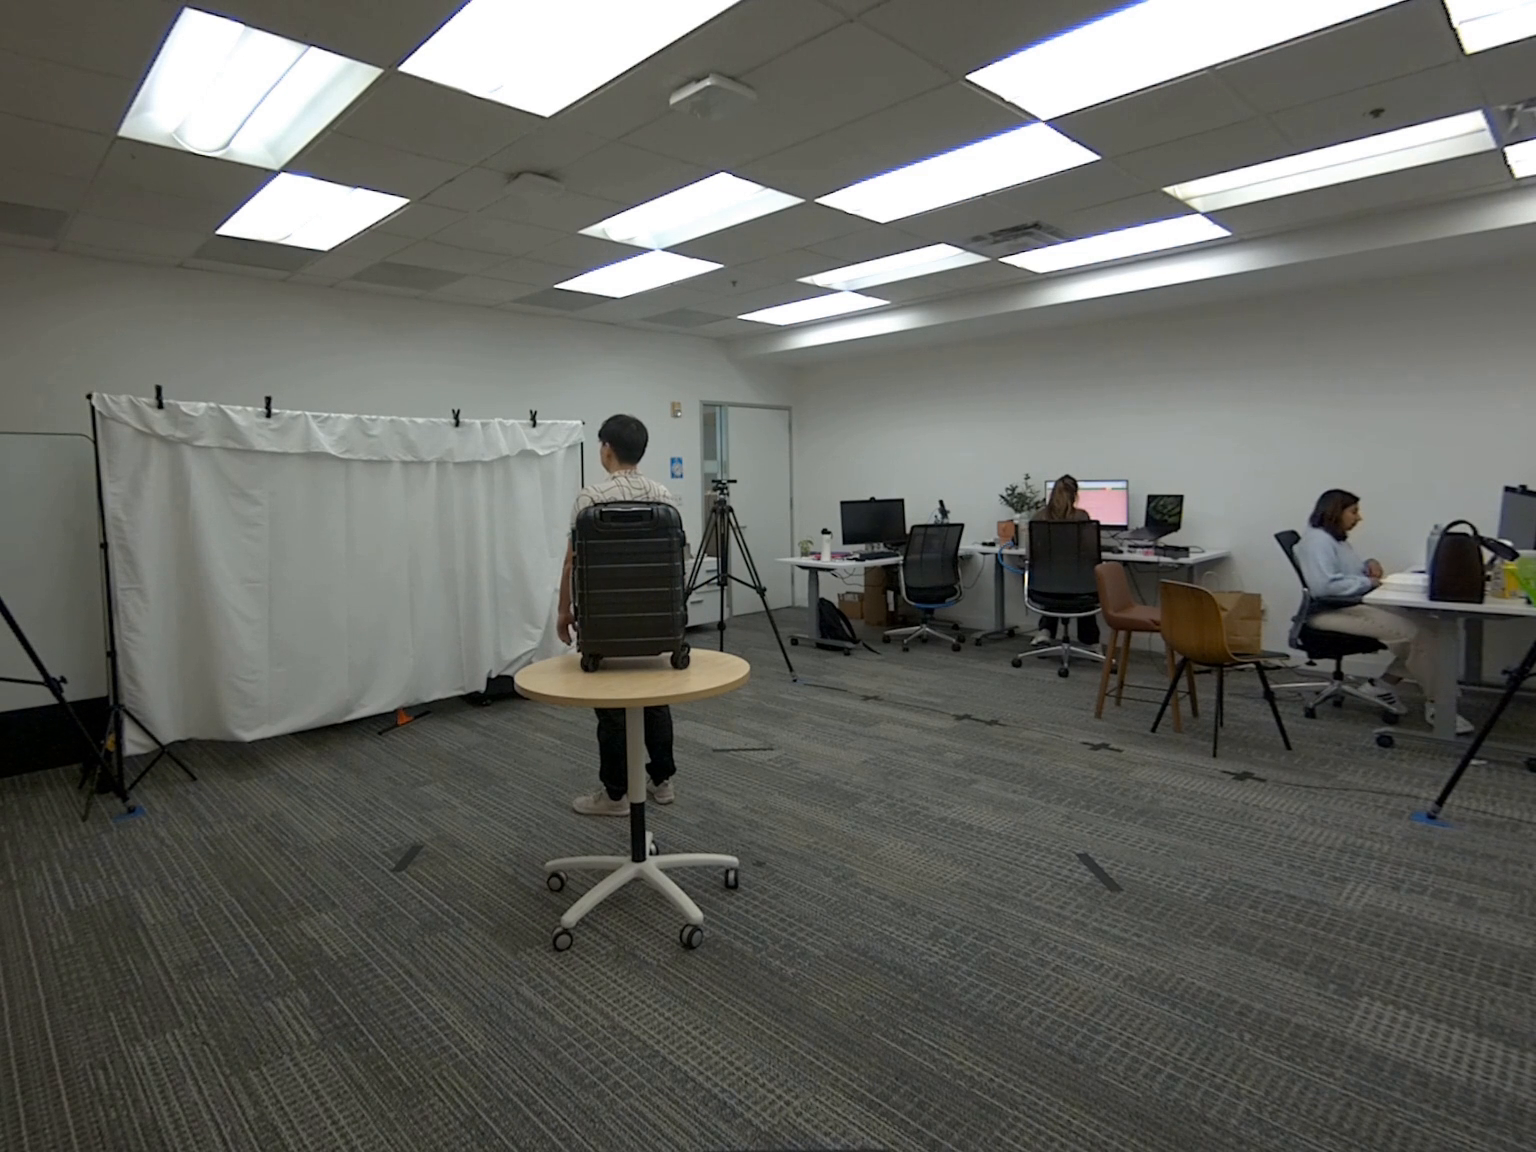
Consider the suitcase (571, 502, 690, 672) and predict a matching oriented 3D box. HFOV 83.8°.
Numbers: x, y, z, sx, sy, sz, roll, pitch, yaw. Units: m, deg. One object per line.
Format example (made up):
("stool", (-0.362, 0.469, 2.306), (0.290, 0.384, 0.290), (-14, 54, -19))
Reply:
("suitcase", (-0.471, 0.023, 2.880), (0.375, 0.547, 0.249), (-3, 4, -1))
